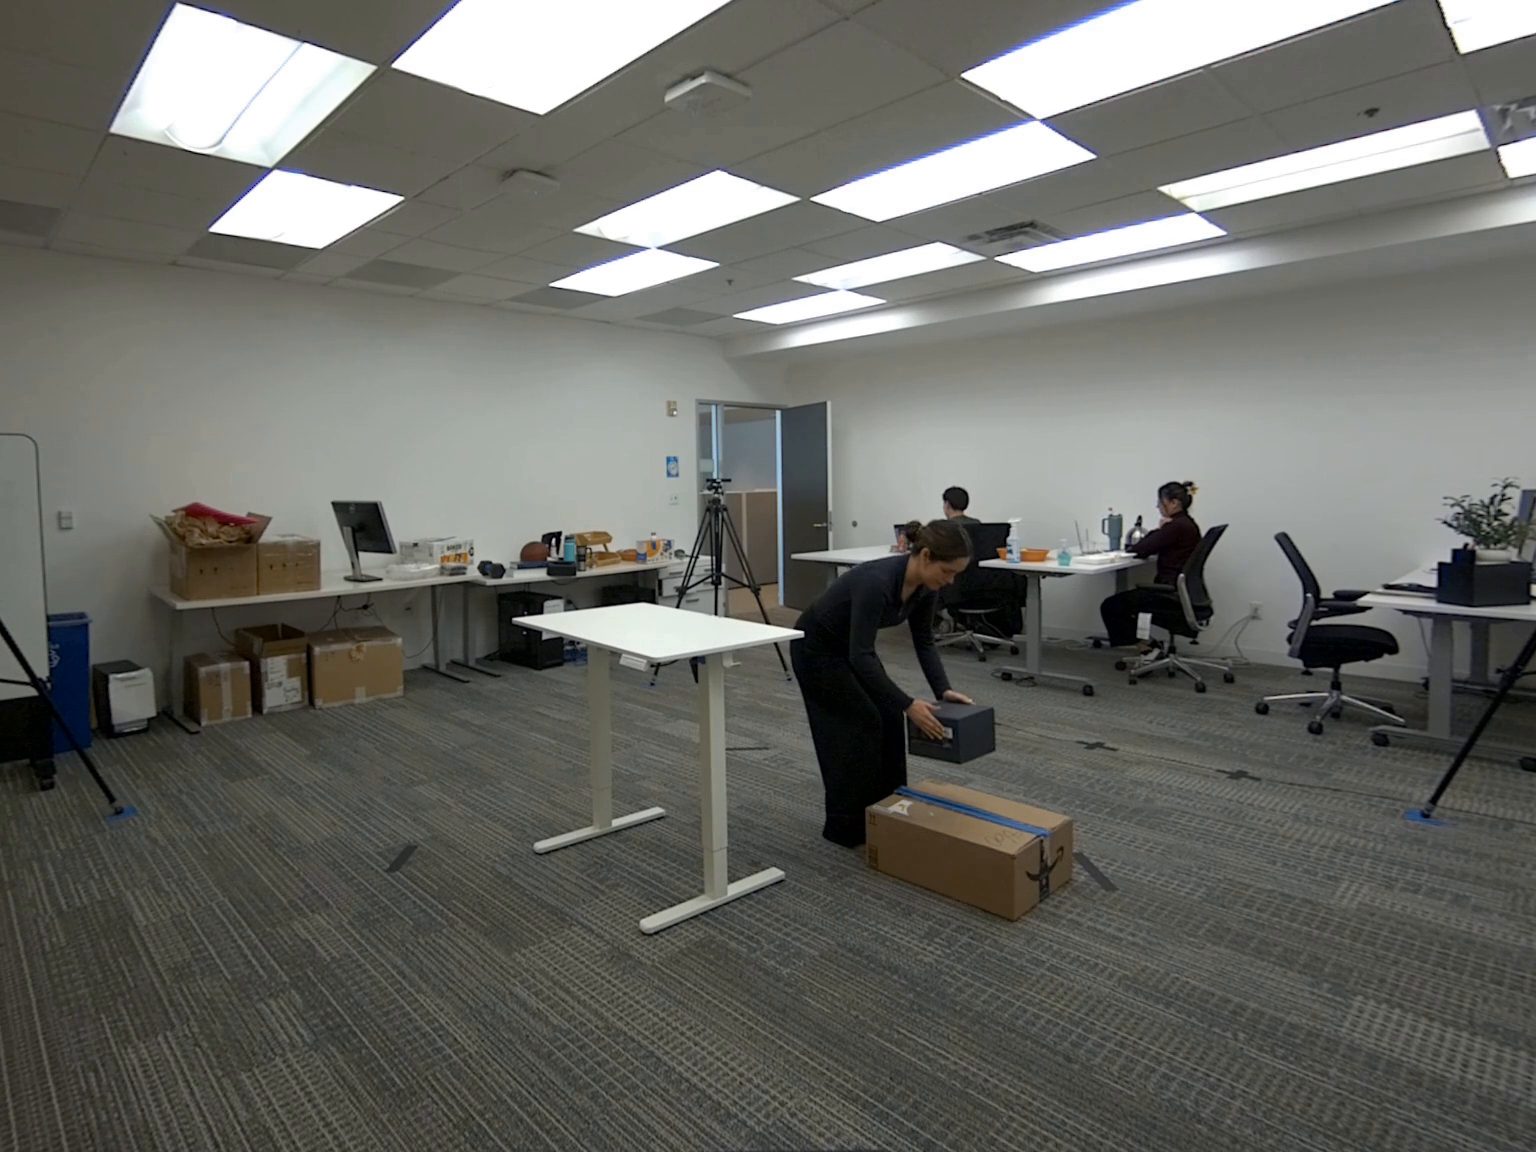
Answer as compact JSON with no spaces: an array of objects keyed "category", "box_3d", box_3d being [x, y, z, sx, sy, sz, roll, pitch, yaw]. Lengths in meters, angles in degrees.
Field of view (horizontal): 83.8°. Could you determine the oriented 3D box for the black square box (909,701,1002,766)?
[{"category":"black square box","box_3d":[0.659,0.545,3.022,0.222,0.156,0.223,-6,3,-42]}]
